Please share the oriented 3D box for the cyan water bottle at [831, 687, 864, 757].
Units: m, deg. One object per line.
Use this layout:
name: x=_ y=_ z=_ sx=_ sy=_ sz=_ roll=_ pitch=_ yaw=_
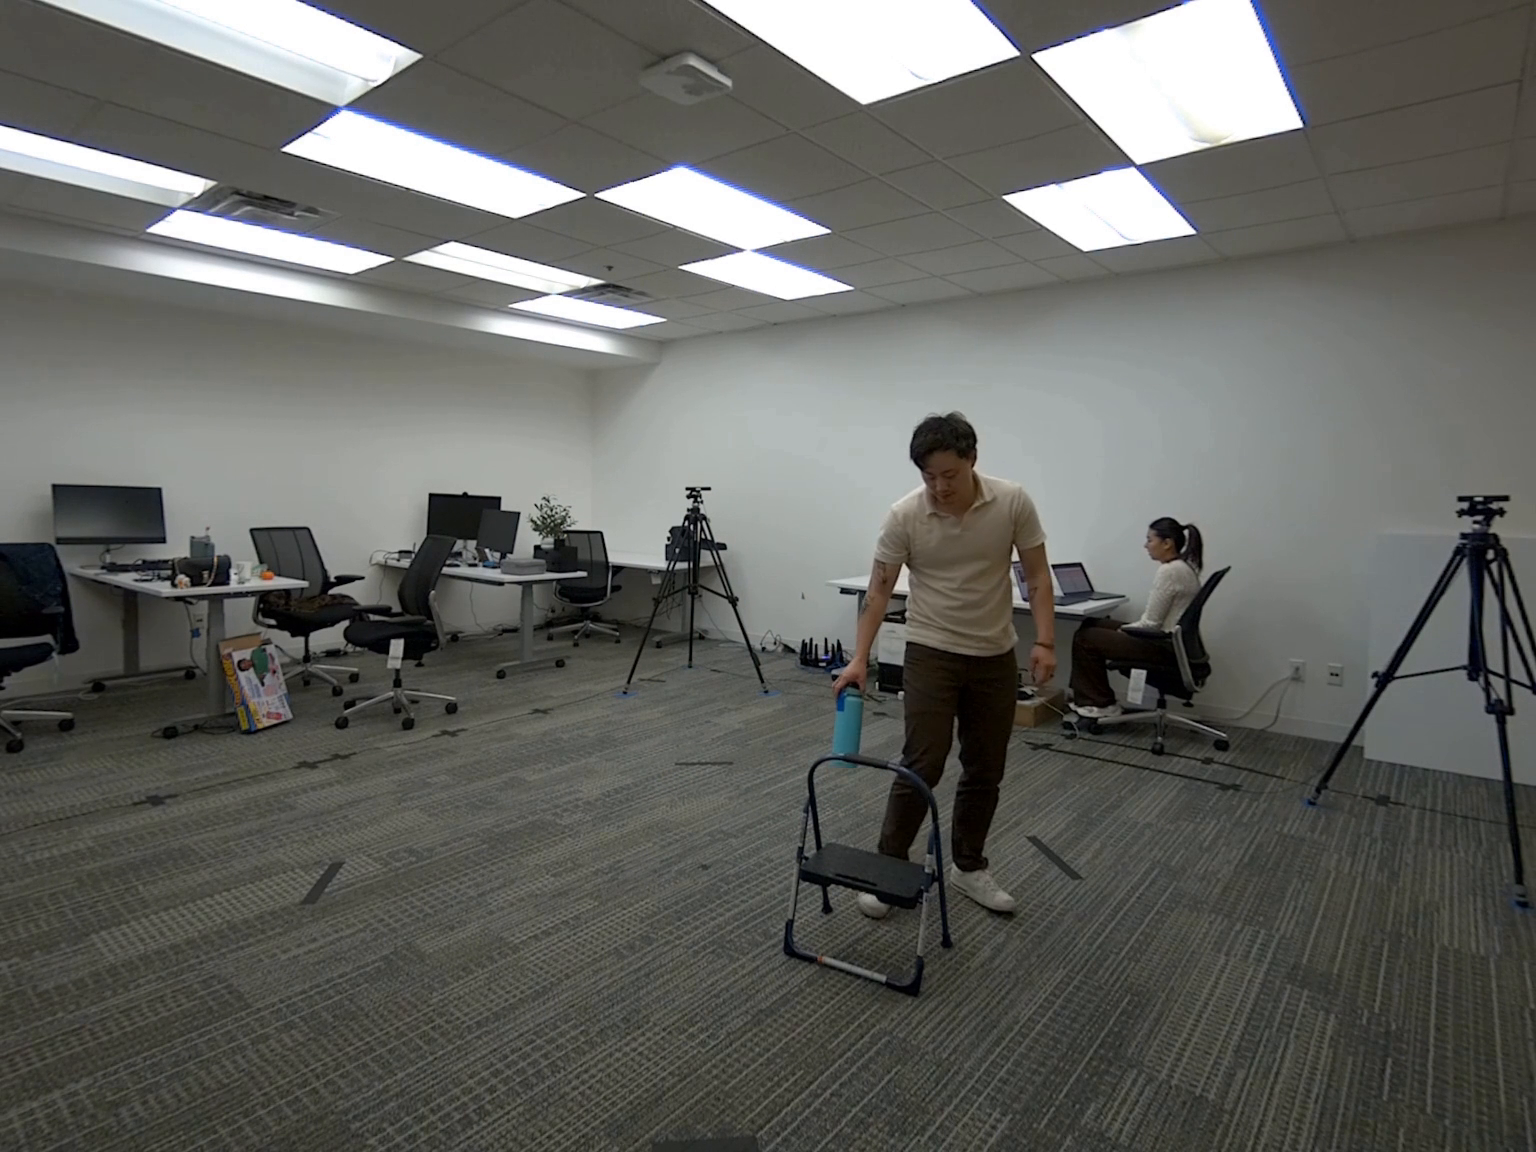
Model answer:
cyan water bottle: x=0.275 y=0.497 z=2.834 sx=0.092 sy=0.285 sz=0.092 roll=5 pitch=-6 yaw=-1
